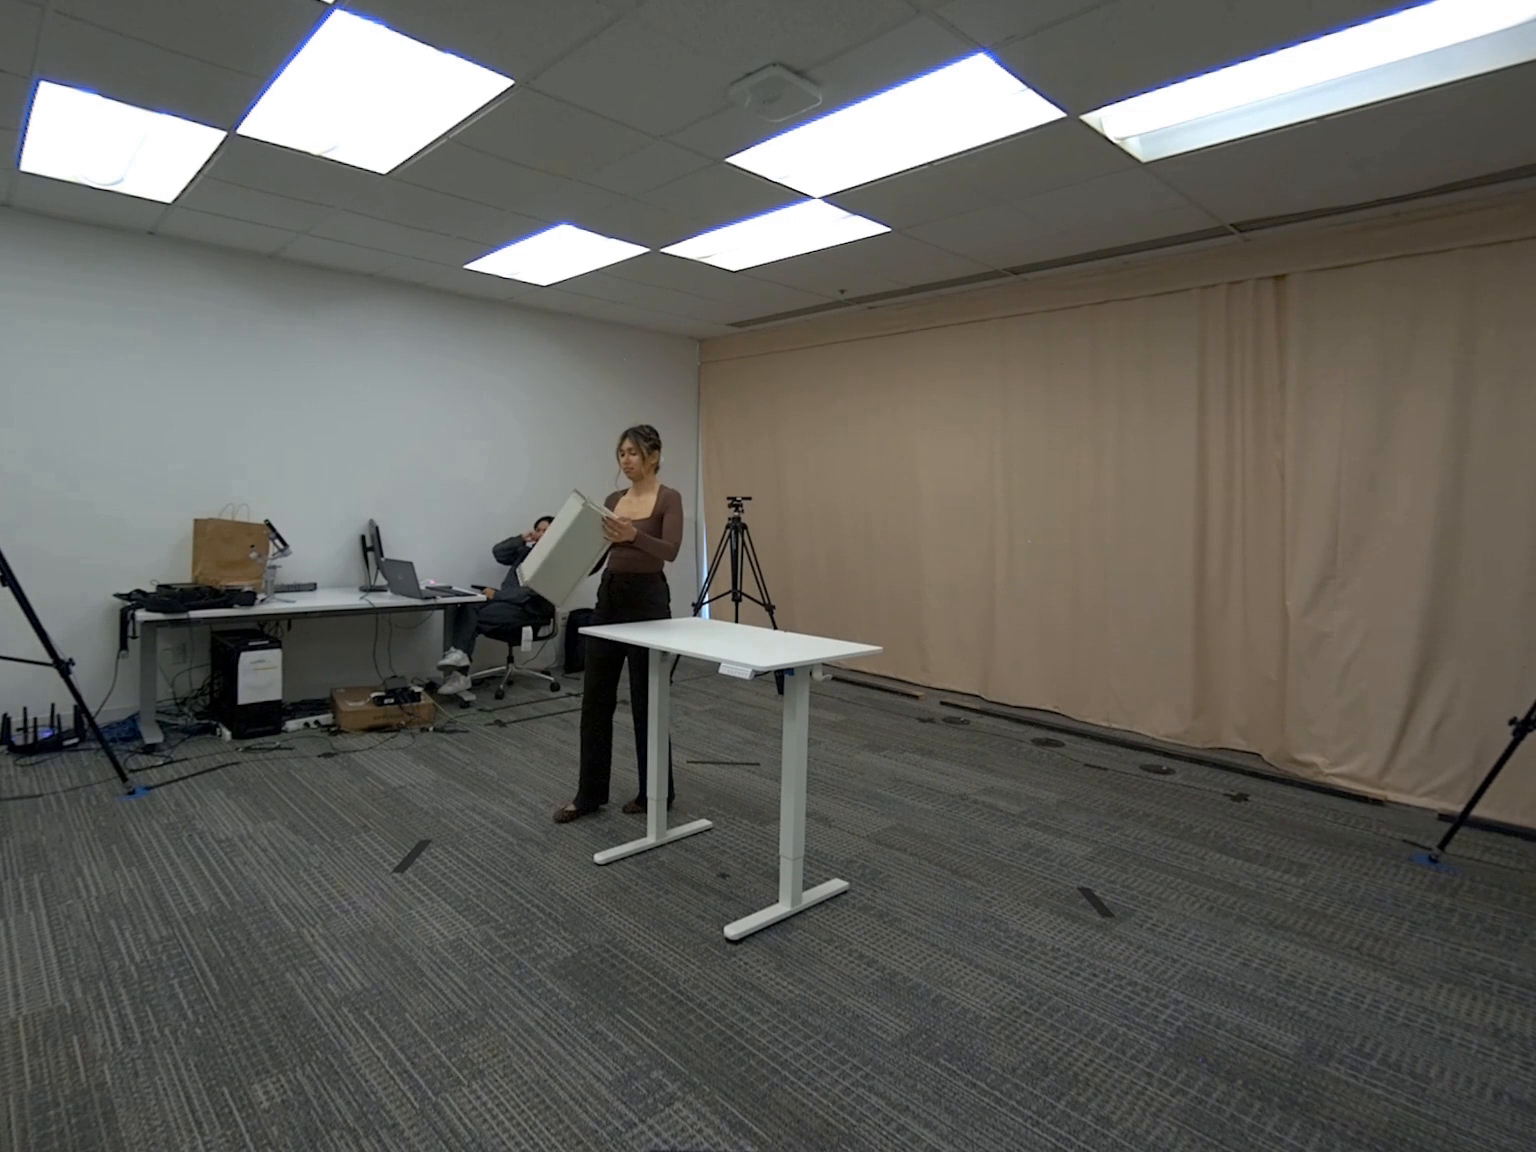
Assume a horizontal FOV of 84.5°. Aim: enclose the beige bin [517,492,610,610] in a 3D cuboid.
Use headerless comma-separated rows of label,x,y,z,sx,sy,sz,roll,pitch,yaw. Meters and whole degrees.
beige bin,-0.800,-0.115,3.328,0.185,0.422,0.385,37,-1,-21
